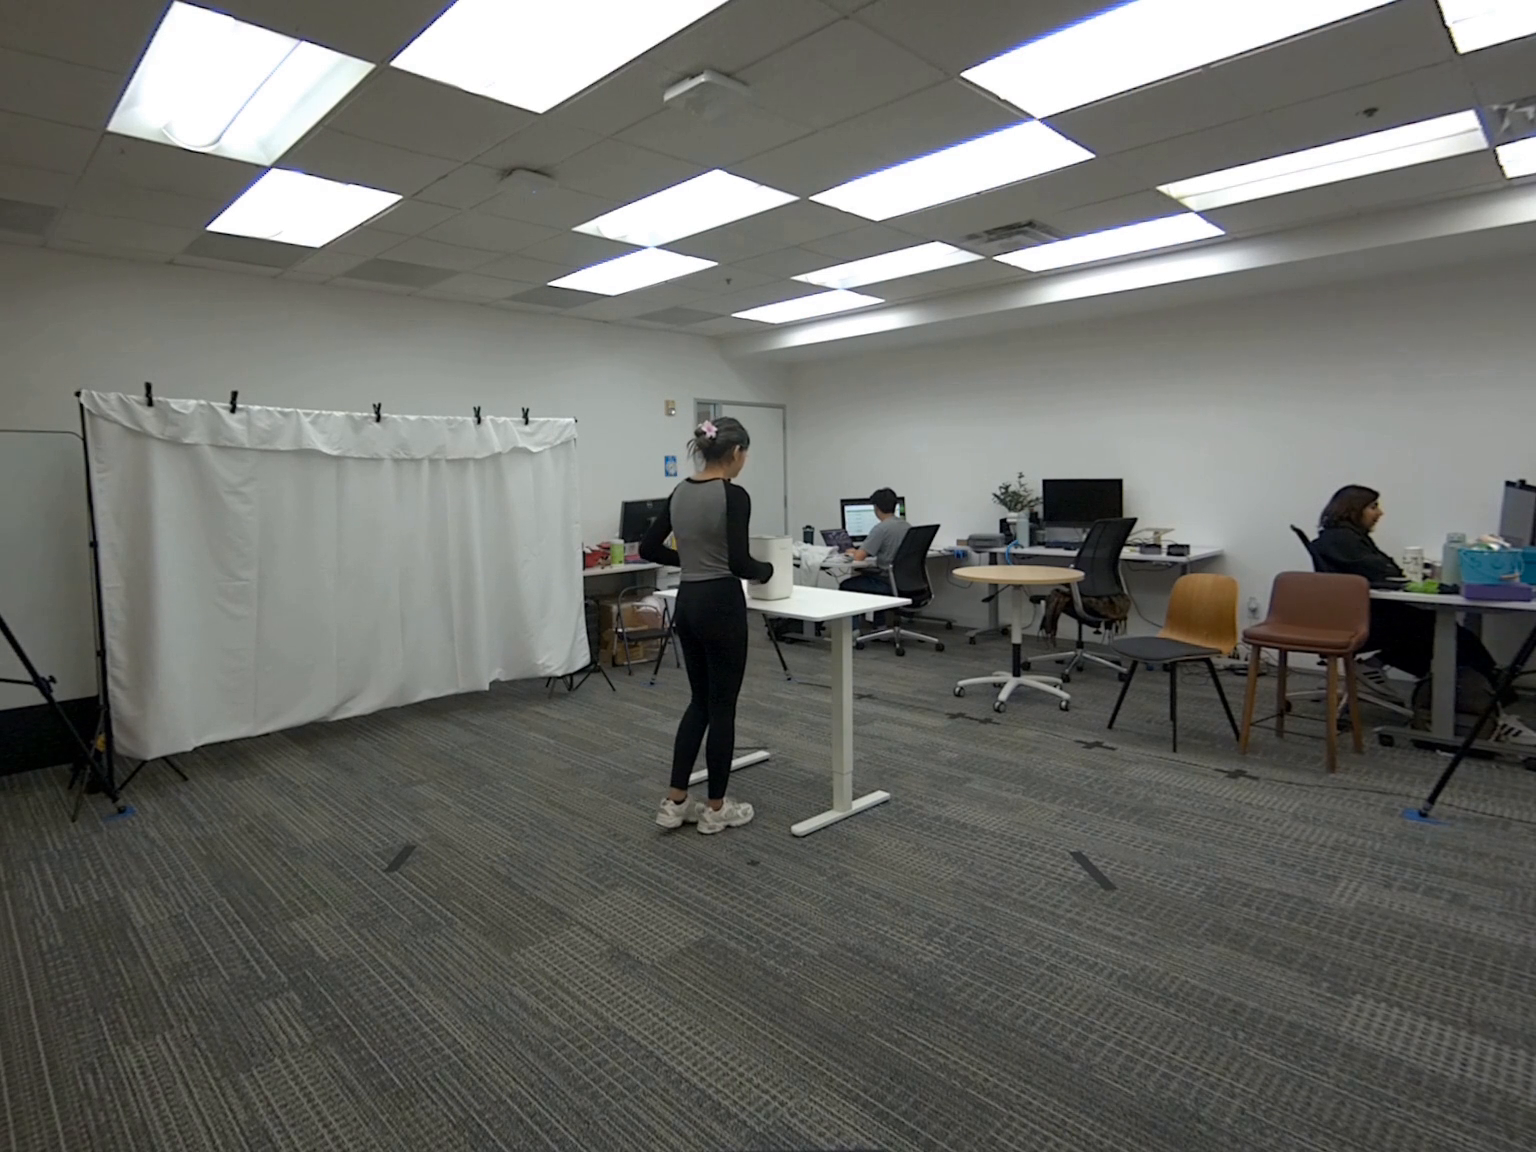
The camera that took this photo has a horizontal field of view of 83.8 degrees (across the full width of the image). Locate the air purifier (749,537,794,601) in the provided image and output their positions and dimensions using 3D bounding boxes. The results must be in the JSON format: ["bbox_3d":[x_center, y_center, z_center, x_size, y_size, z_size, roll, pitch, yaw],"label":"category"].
[{"bbox_3d":[0.010,-0.037,3.677,0.166,0.264,0.177,-5,7,-45],"label":"air purifier"}]
